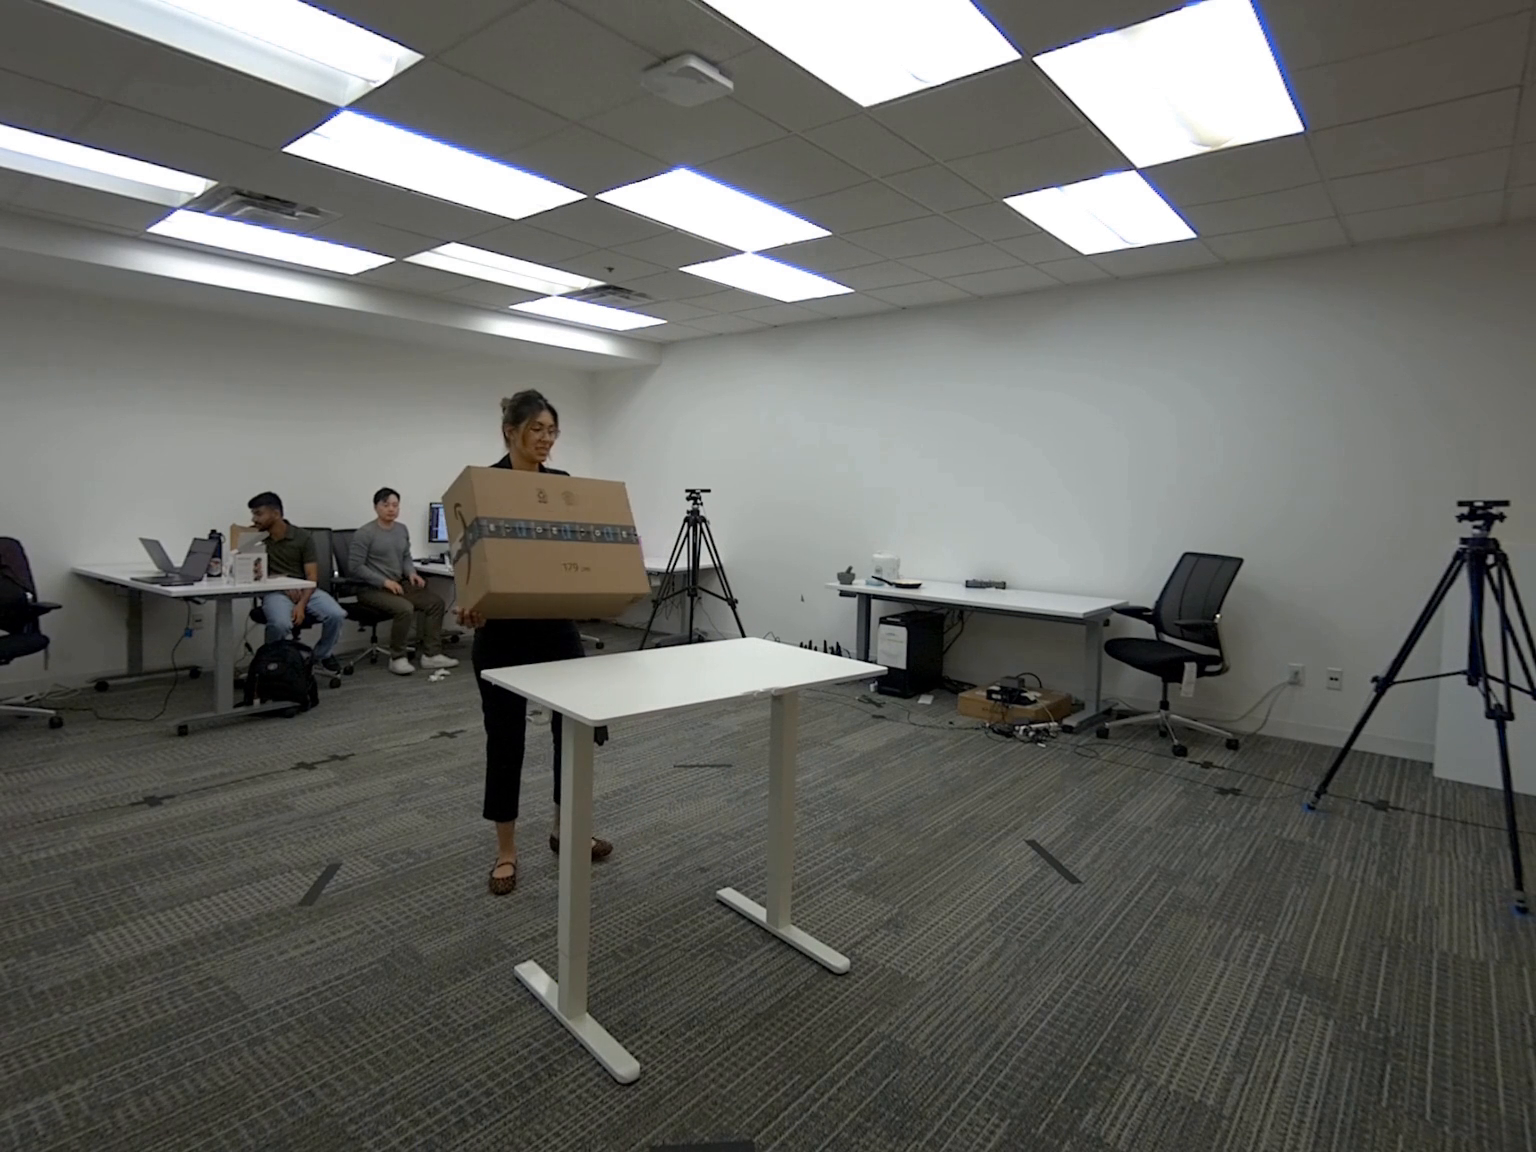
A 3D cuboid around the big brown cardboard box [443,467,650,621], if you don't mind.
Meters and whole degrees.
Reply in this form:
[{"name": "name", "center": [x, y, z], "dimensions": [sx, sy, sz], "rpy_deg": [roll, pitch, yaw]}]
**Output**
[{"name": "big brown cardboard box", "center": [-0.716, -0.097, 2.727], "dimensions": [0.569, 0.428, 0.235], "rpy_deg": [3, -28, -42]}]
